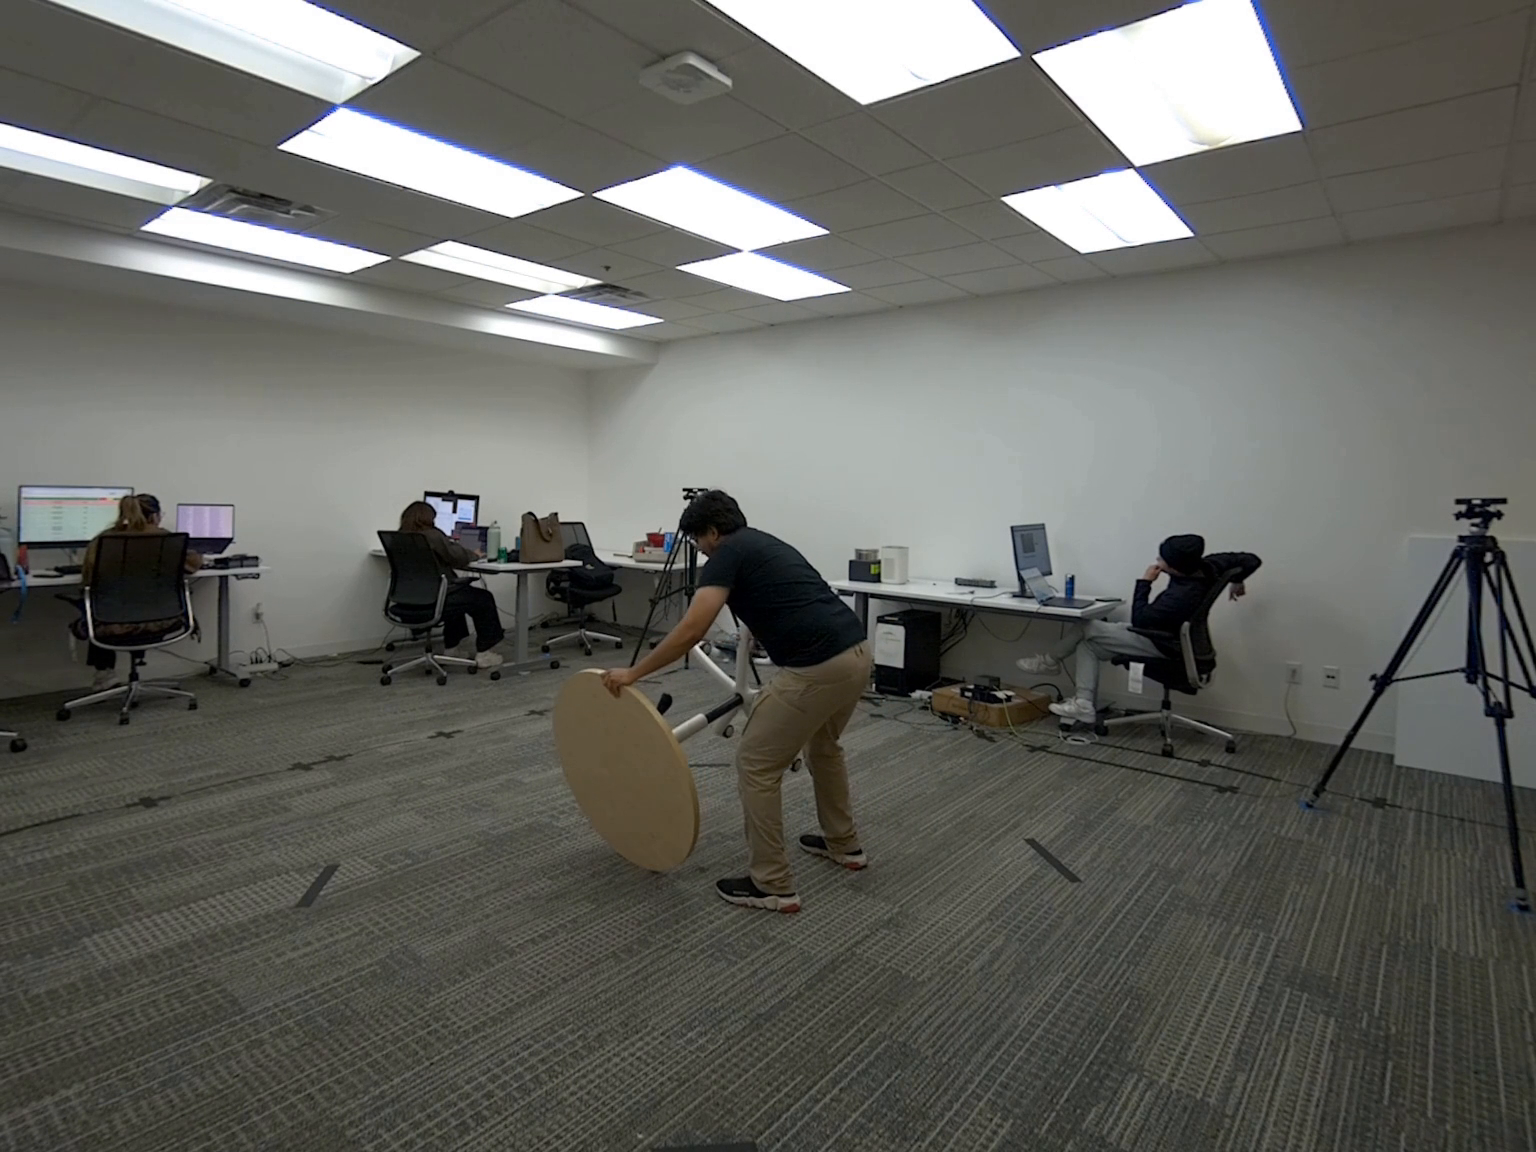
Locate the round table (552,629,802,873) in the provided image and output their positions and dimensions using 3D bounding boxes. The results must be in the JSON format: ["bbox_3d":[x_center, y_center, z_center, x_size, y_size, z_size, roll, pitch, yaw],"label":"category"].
[{"bbox_3d":[-0.302,0.582,3.326,0.812,0.774,0.772,5,19,42],"label":"round table"}]
